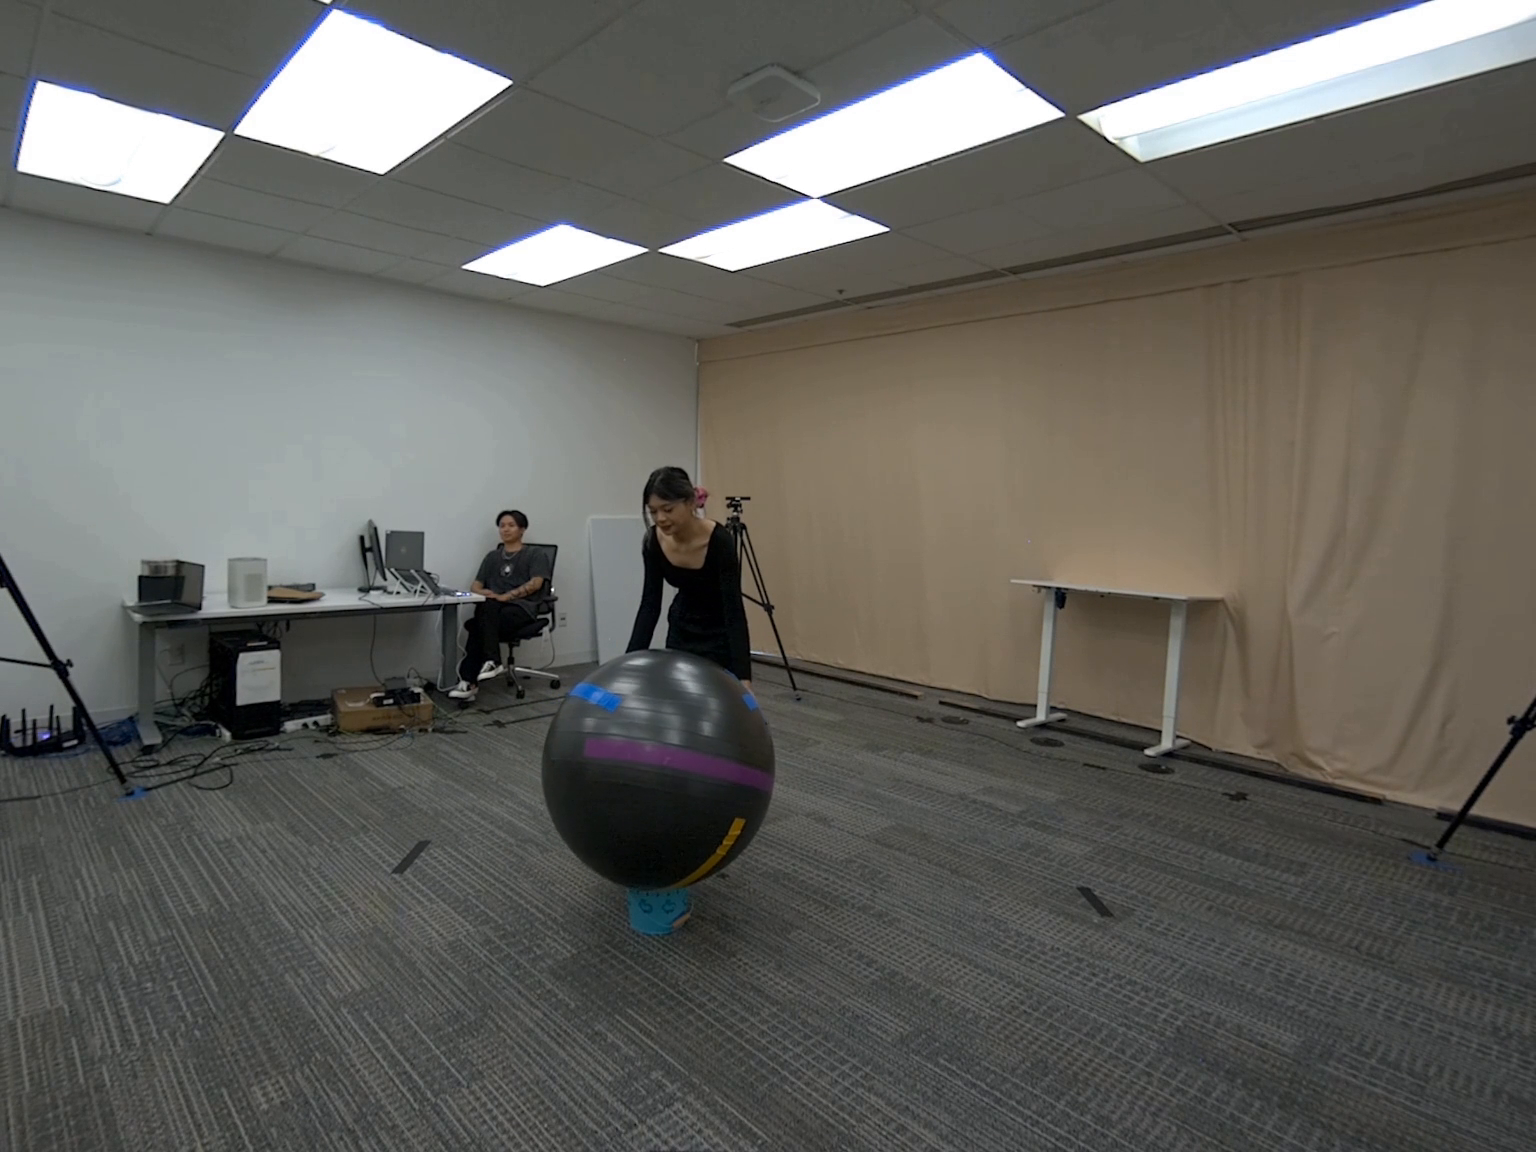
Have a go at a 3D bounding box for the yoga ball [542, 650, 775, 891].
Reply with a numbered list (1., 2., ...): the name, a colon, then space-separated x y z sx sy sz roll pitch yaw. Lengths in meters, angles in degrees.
1. yoga ball: -0.360 0.622 2.745 0.757 0.756 0.761 1 4 -1
